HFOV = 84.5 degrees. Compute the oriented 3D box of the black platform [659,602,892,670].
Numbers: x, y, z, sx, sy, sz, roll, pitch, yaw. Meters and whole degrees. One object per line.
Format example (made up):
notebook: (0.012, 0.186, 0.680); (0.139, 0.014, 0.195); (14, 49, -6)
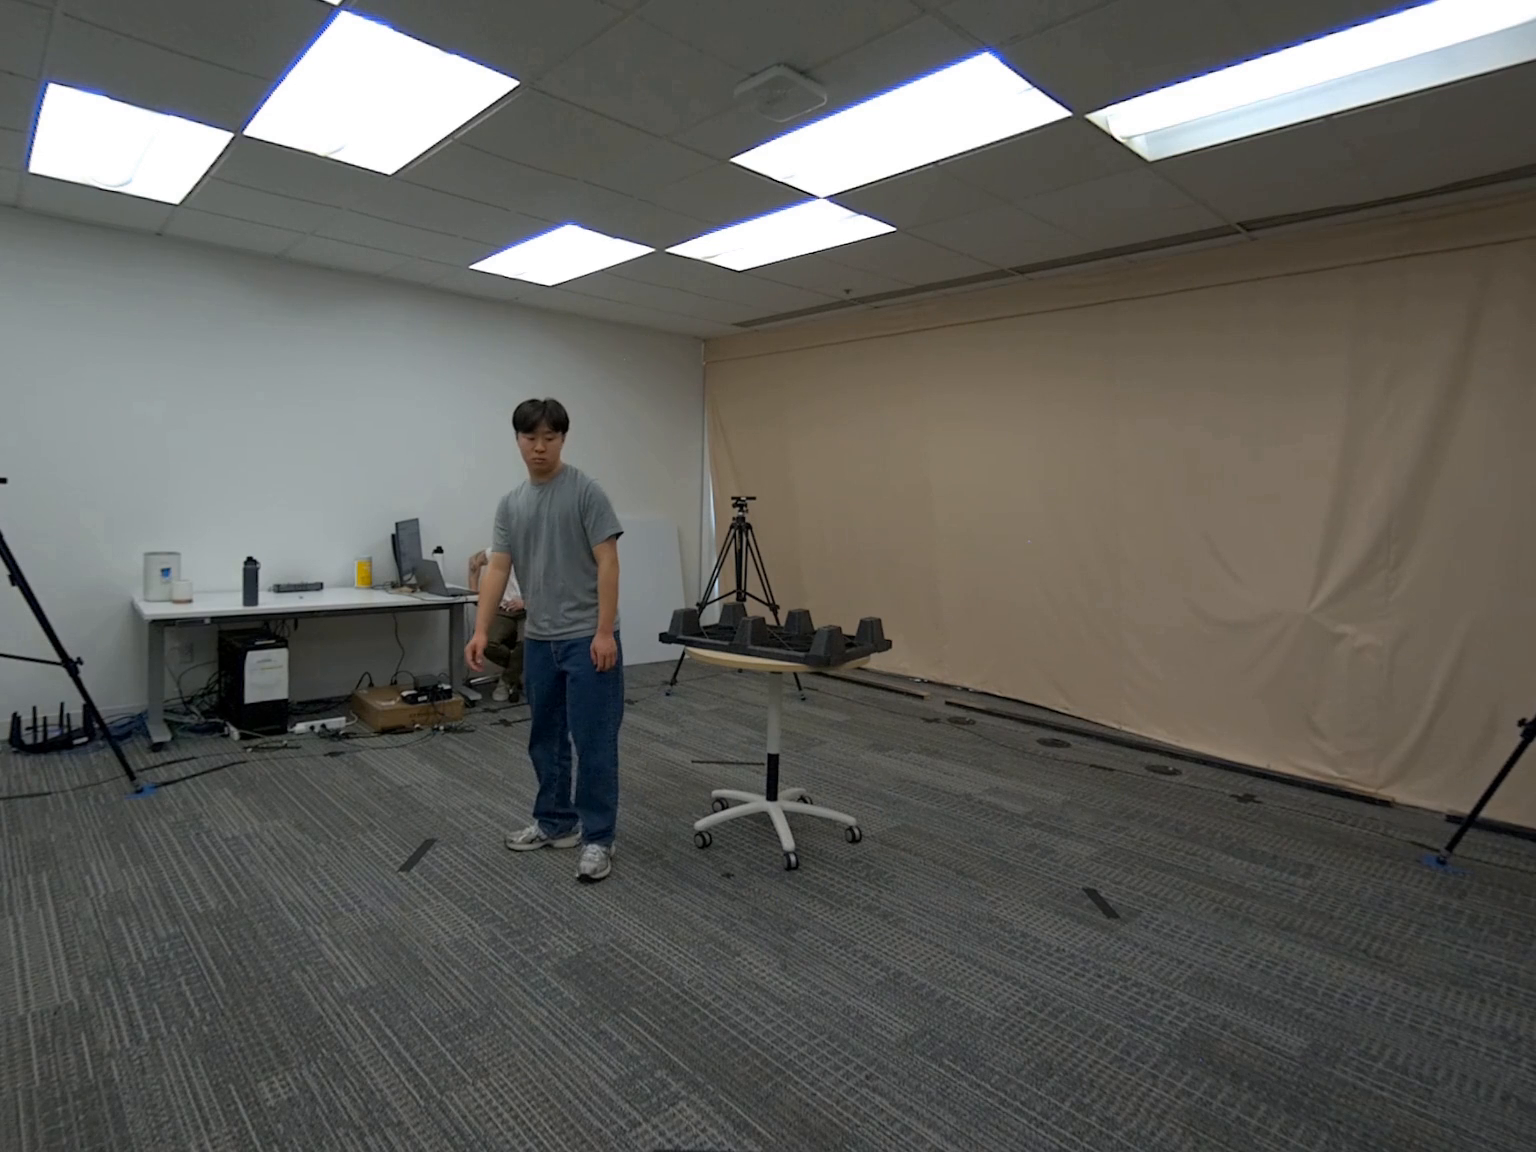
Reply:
black platform: (0.023, 0.228, 3.520); (0.824, 0.143, 0.592); (5, 5, 32)
